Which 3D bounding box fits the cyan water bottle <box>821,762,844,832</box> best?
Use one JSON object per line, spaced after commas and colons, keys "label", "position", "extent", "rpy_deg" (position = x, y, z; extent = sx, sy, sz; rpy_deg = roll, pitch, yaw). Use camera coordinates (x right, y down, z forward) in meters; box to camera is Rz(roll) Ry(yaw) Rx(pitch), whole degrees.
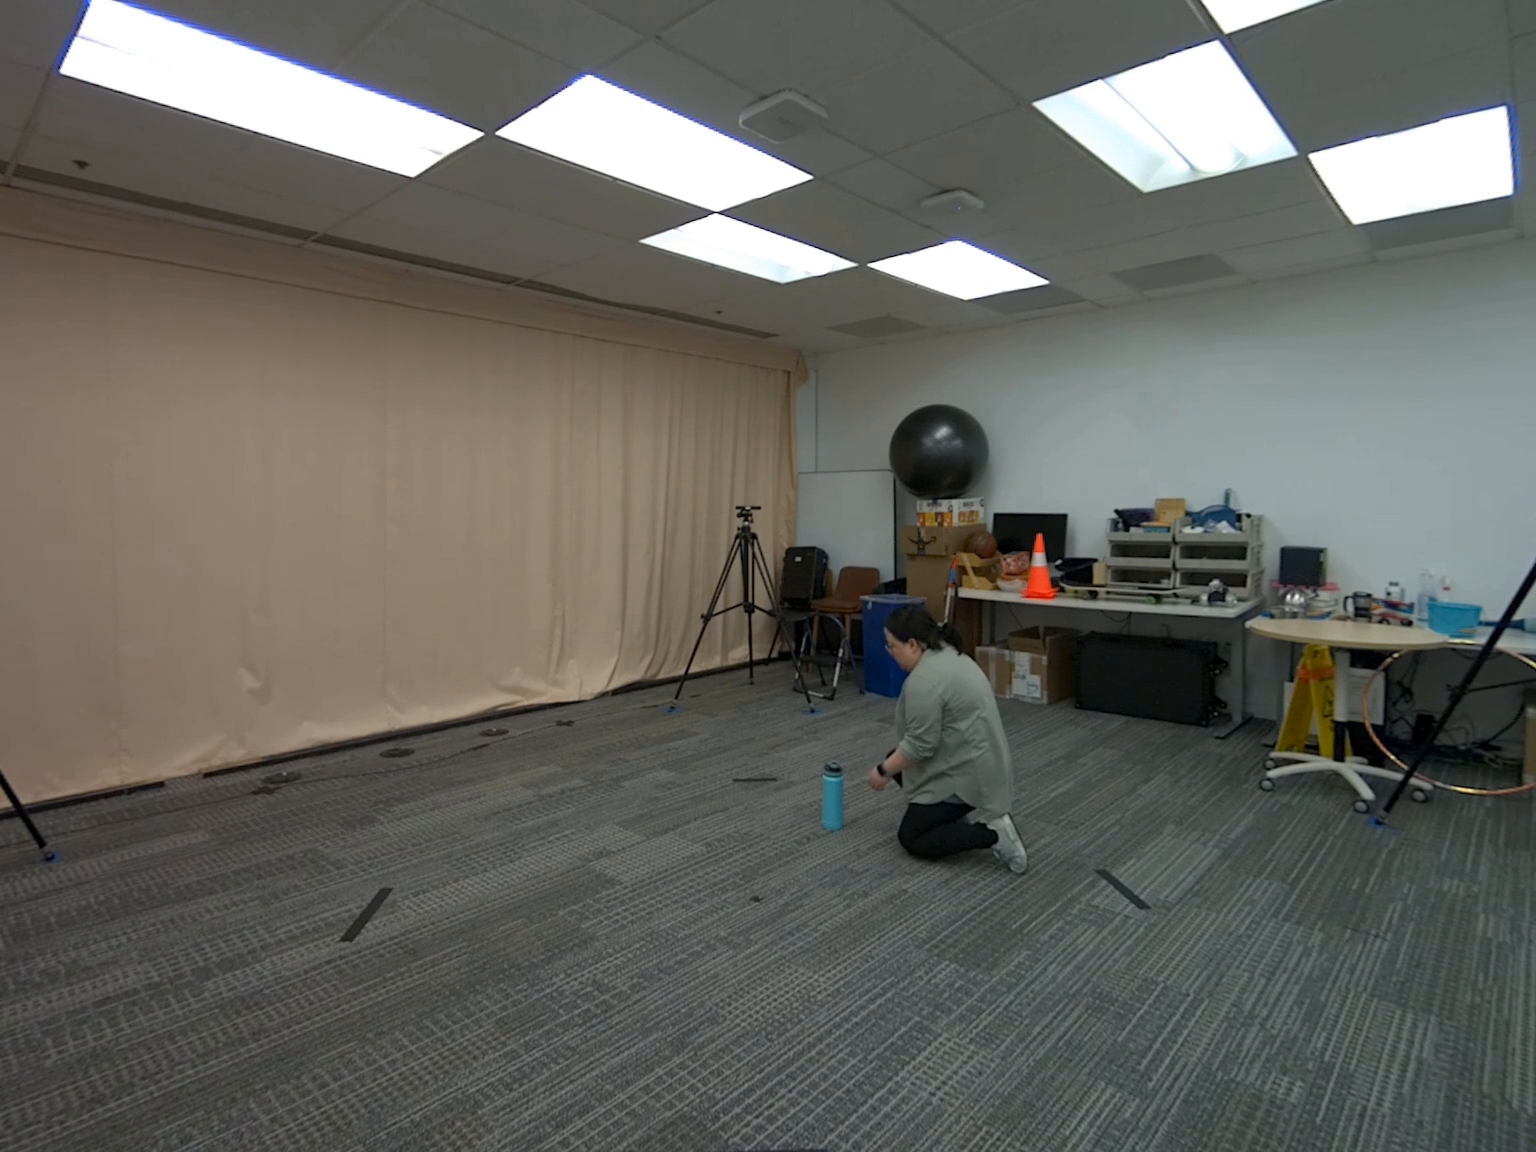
{"label": "cyan water bottle", "position": [0.289, 0.953, 3.662], "extent": [0.092, 0.283, 0.092], "rpy_deg": [4, 3, -2]}
